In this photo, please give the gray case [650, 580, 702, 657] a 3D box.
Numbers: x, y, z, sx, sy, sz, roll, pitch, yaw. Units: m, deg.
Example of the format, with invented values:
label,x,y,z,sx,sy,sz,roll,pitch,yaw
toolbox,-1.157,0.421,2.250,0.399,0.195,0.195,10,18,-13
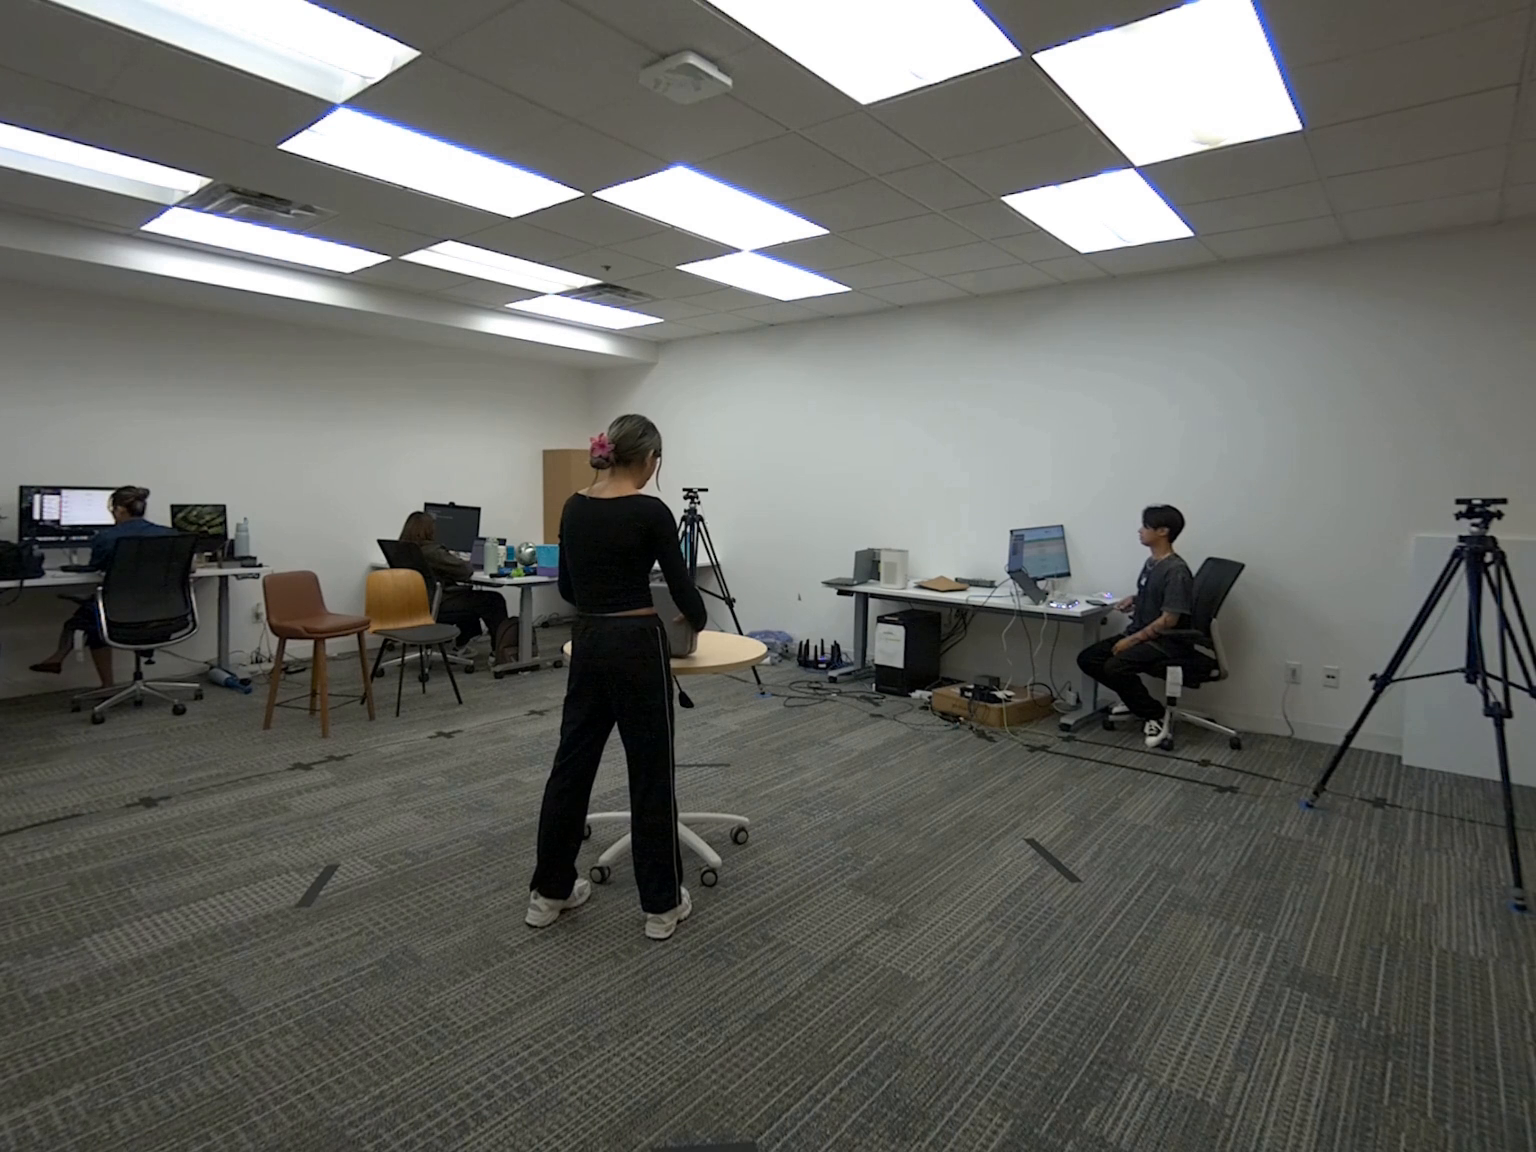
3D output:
label,x,y,z,sx,sy,sz,roll,pitch,yaw
gray case,-0.388,0.148,3.058,0.262,0.262,0.102,1,-4,20
